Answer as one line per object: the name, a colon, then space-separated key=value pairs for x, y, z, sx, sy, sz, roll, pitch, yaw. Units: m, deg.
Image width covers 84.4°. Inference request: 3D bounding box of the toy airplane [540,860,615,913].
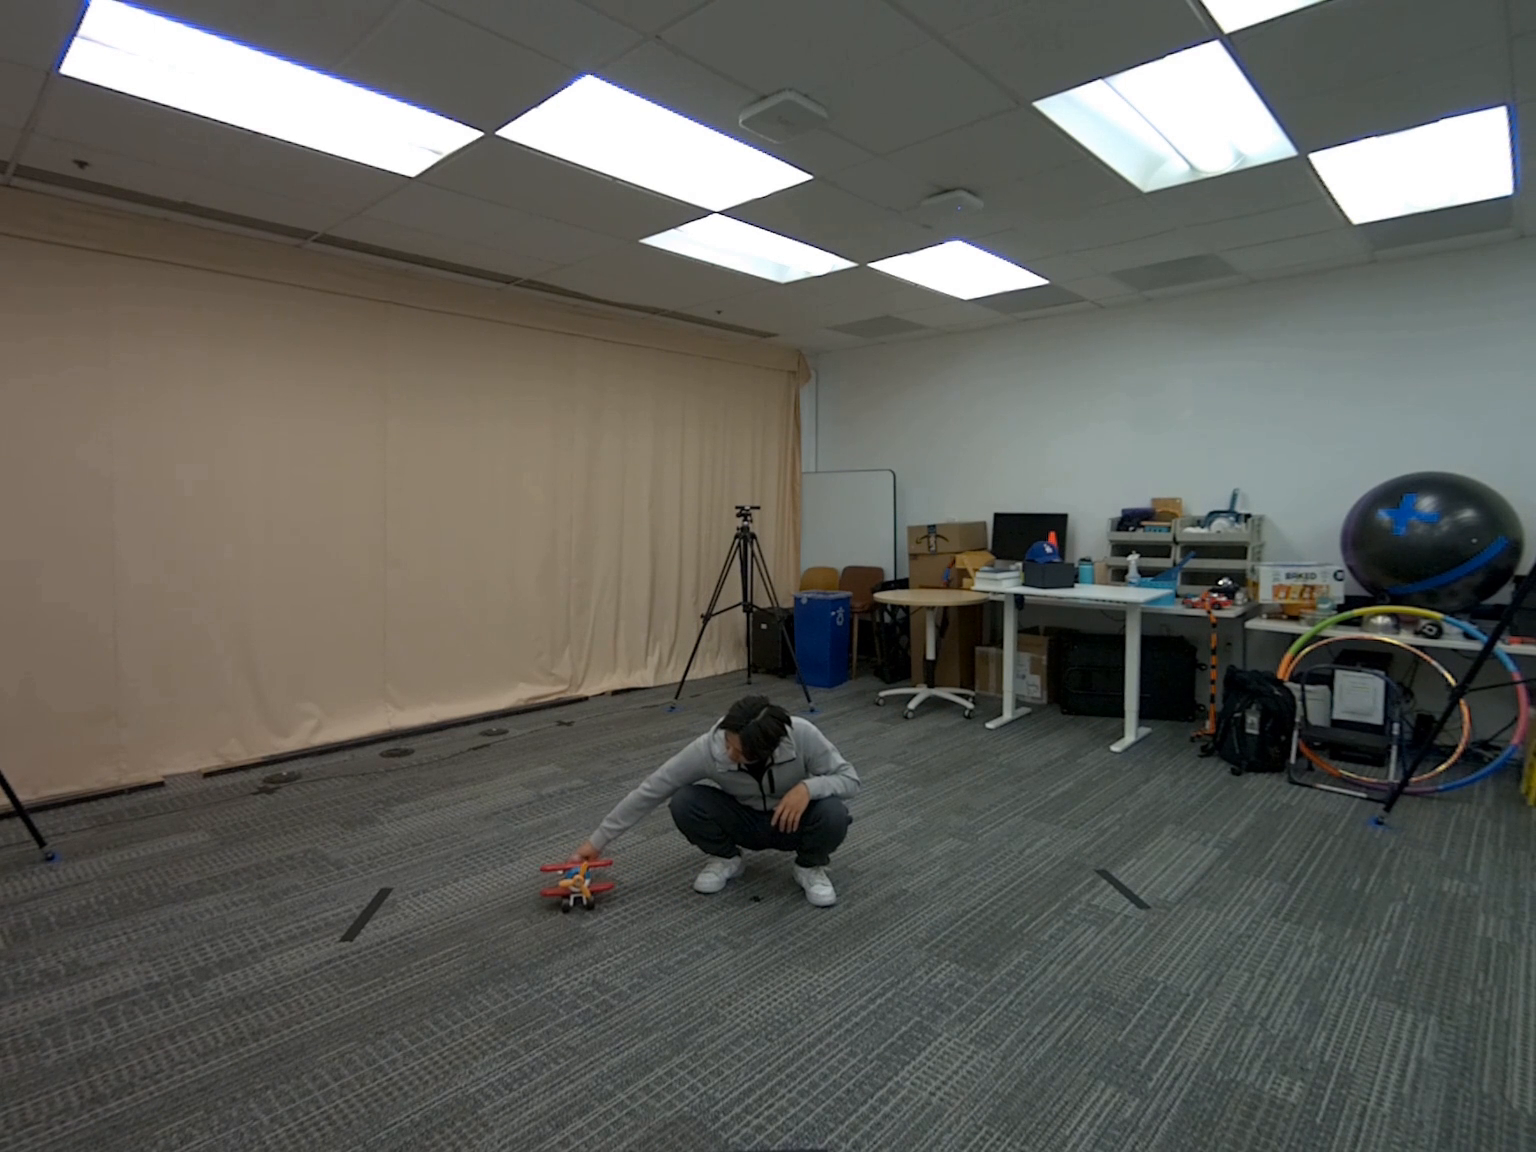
toy airplane: x=-0.697 y=1.081 z=2.988 sx=0.243 sy=0.156 sz=0.268 roll=-4 pitch=5 yaw=-40
